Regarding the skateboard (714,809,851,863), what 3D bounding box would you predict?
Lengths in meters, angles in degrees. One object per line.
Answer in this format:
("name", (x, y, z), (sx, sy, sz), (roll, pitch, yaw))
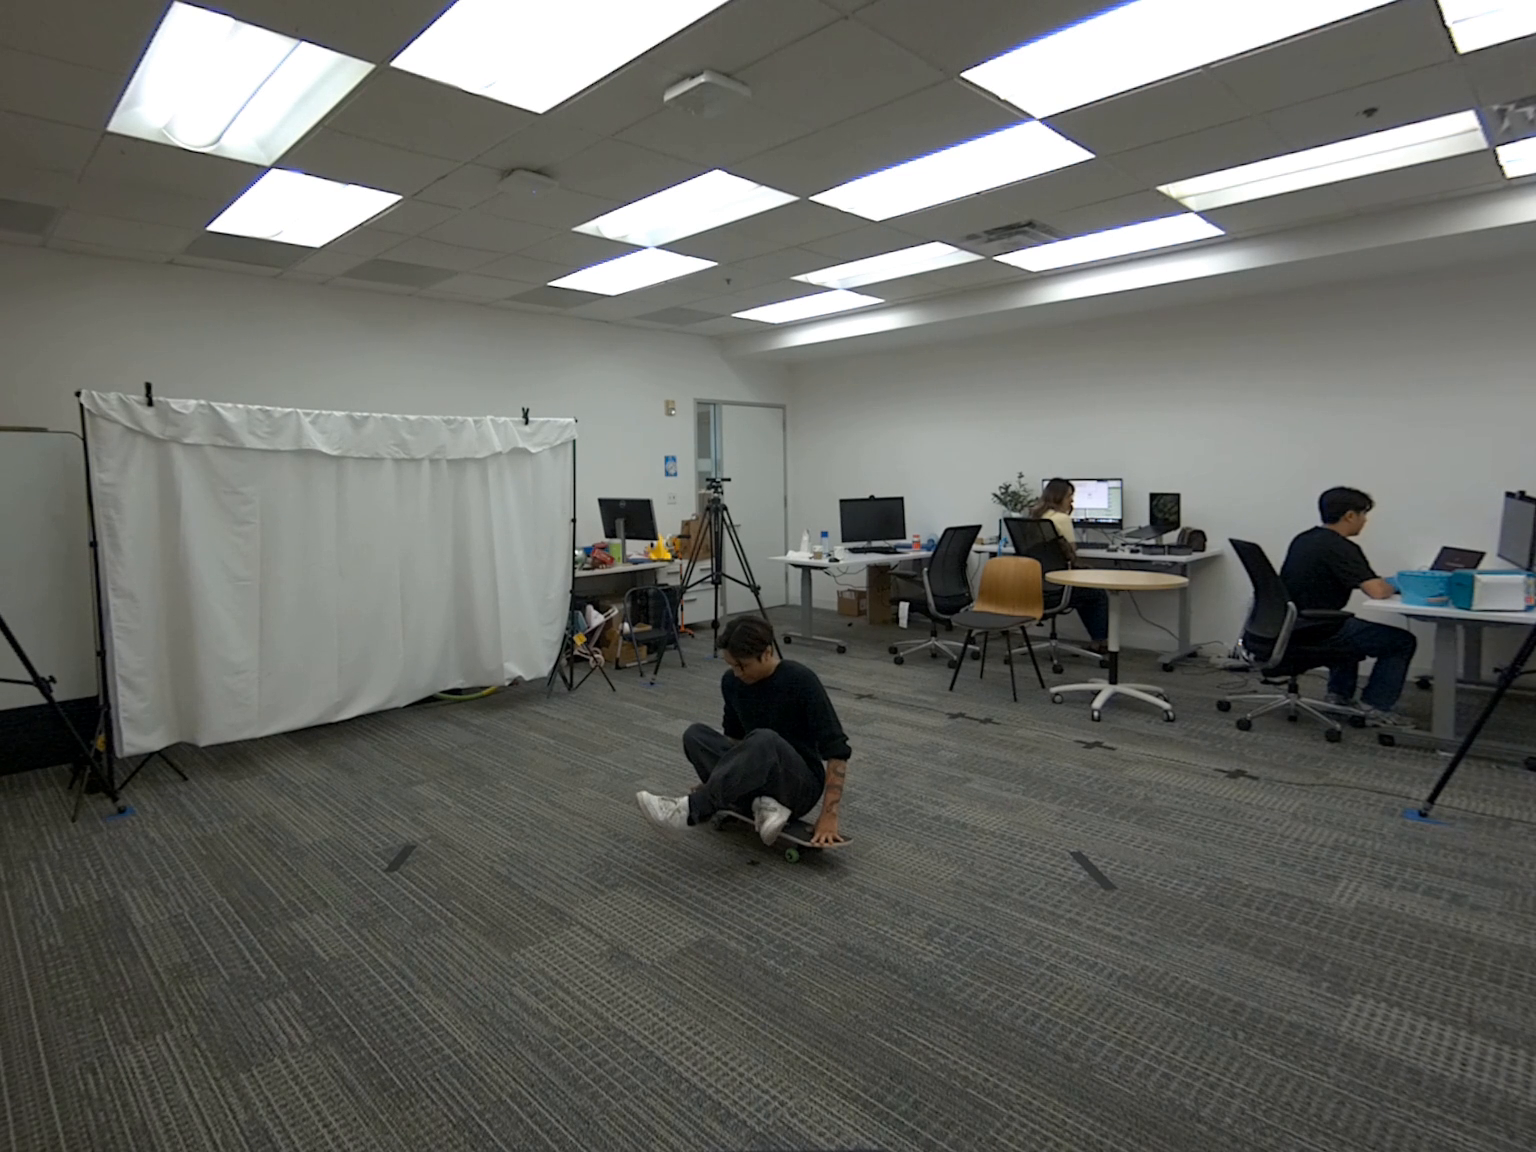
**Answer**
("skateboard", (0.010, 0.981, 3.311), (0.187, 0.110, 0.809), (4, 0, -42))
